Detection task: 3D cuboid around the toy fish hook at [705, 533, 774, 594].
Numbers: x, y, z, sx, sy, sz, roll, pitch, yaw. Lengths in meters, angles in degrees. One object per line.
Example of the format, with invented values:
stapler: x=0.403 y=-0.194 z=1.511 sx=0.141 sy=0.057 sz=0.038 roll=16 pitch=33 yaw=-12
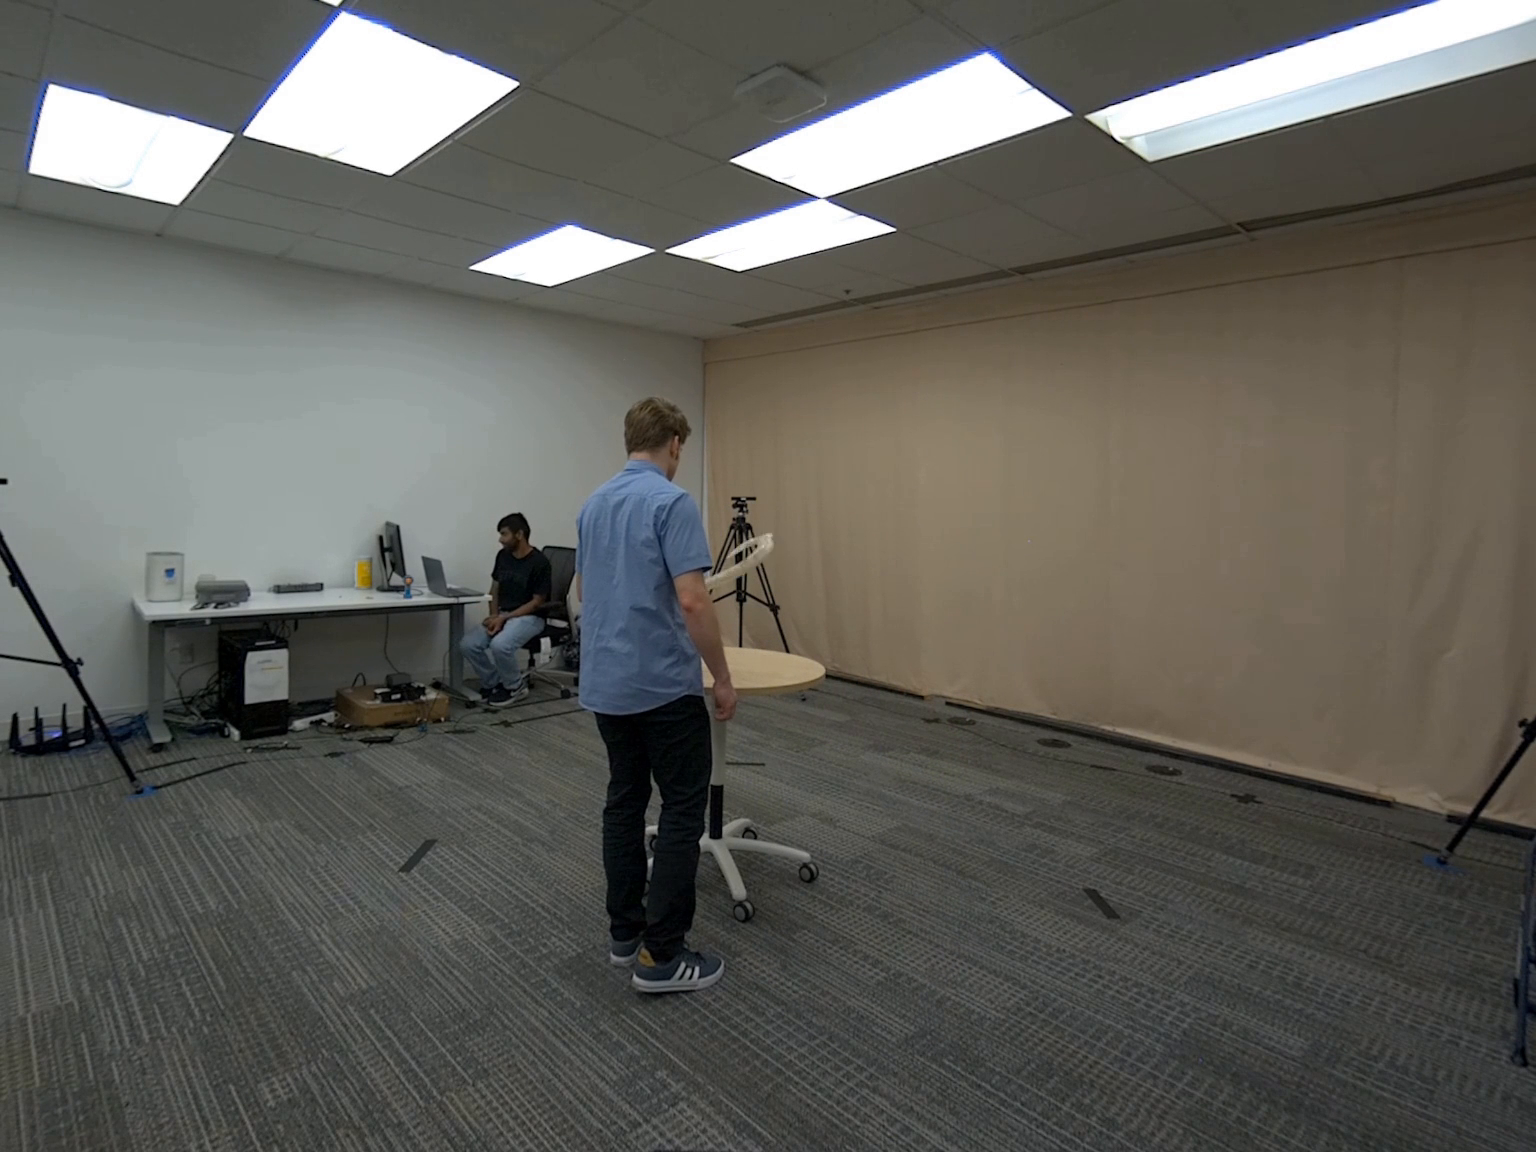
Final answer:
toy fish hook: x=-0.204 y=0.005 z=2.975 sx=0.508 sy=0.047 sz=0.227 roll=-31 pitch=17 yaw=12
